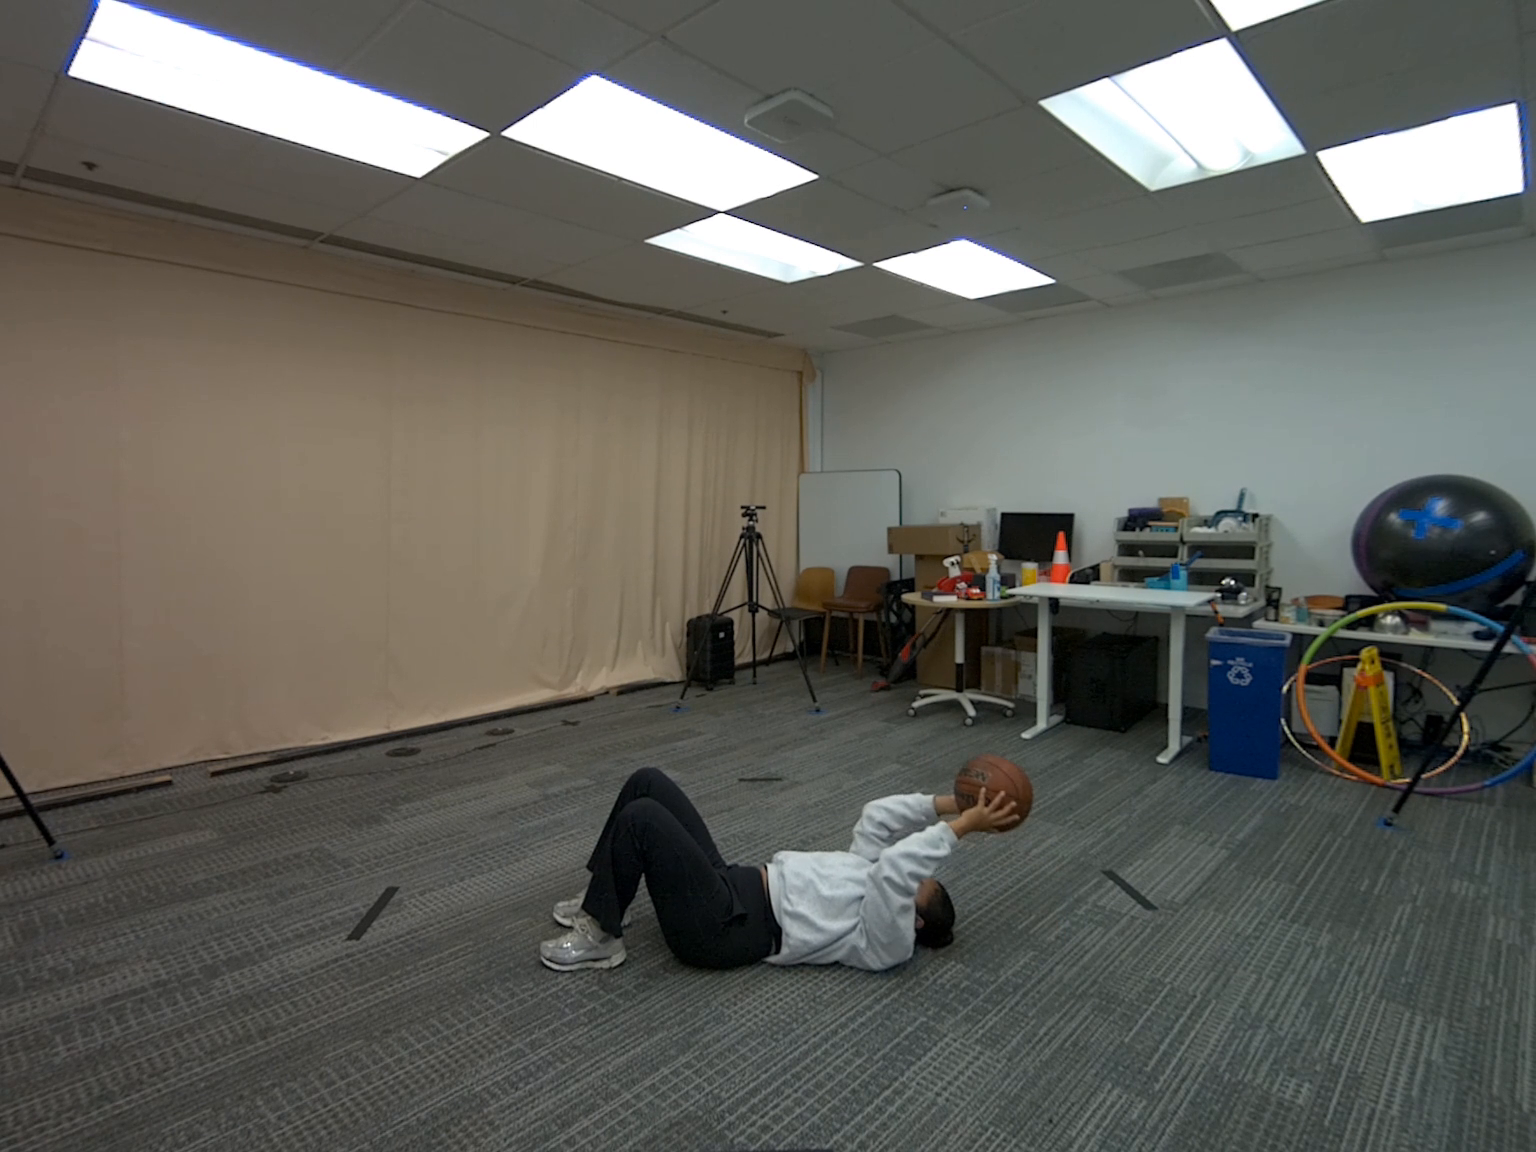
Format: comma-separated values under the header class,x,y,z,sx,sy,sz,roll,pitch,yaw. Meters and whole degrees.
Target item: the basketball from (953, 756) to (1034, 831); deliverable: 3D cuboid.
class,x,y,z,sx,sy,sz,roll,pitch,yaw
basketball,0.710,0.697,2.665,0.236,0.235,0.237,0,4,-2
